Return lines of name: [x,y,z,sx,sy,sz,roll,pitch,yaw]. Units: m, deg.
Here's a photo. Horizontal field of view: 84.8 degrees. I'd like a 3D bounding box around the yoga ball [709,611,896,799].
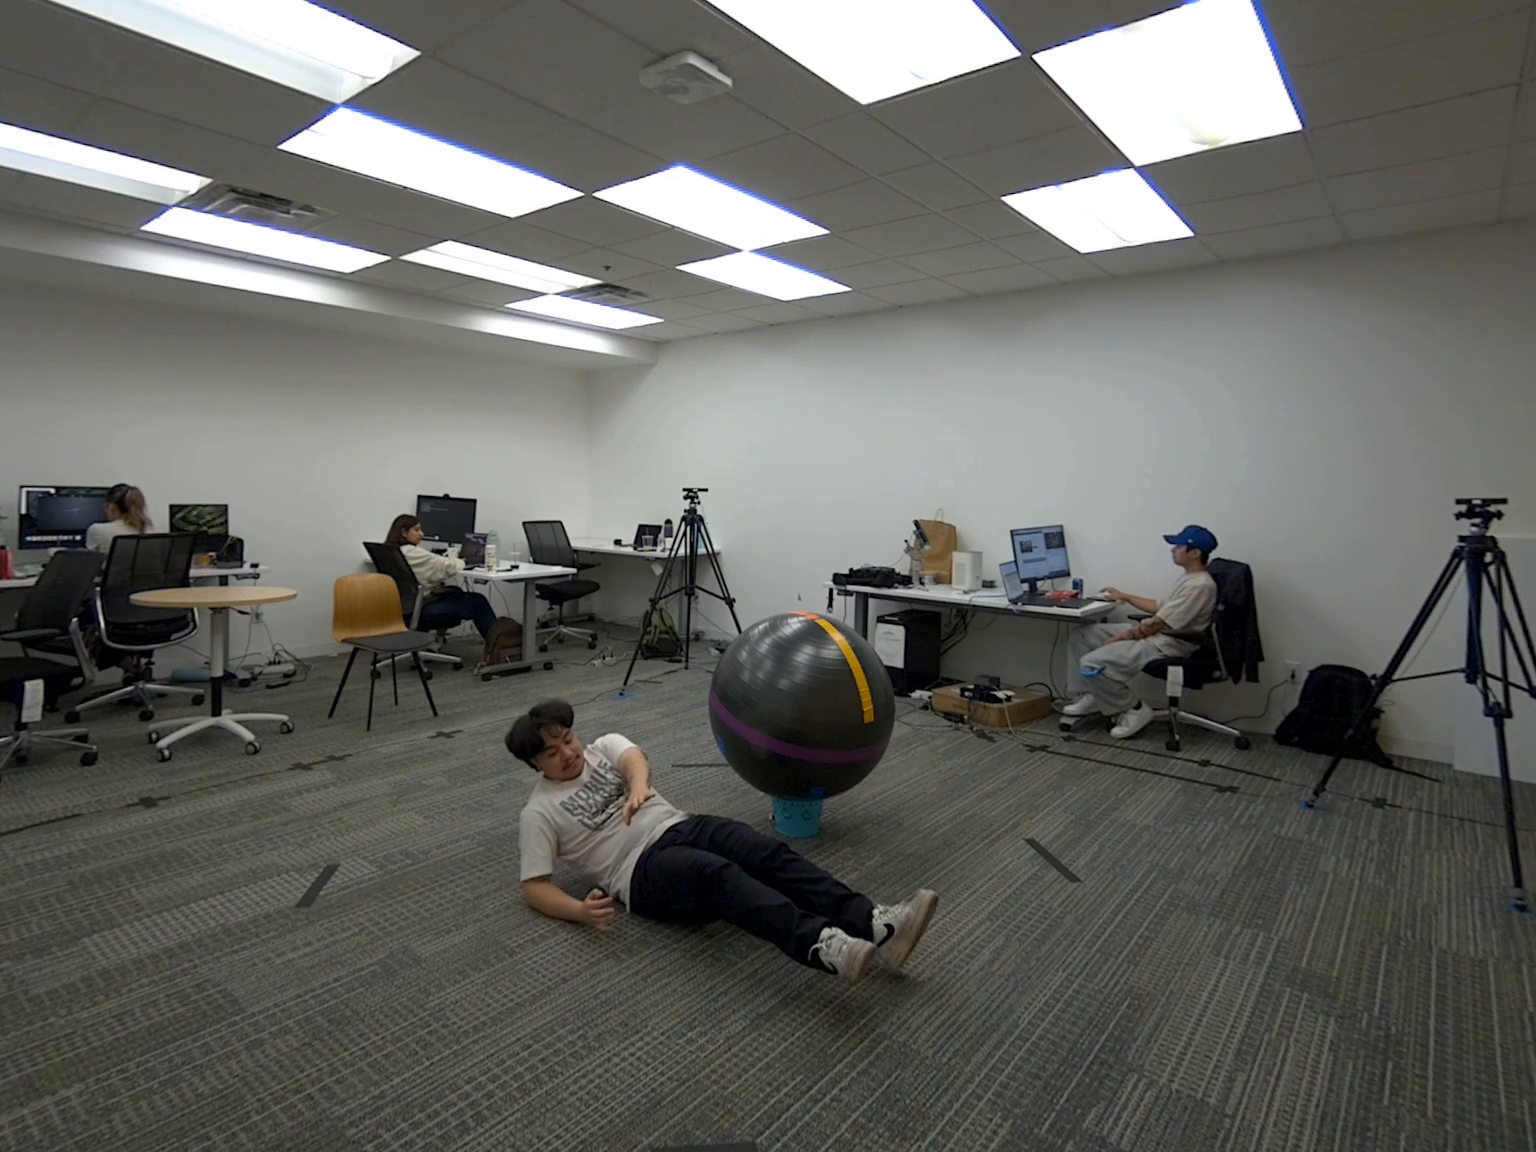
yoga ball: [0.139,0.527,3.493,0.757,0.756,0.761,1,4,-2]
